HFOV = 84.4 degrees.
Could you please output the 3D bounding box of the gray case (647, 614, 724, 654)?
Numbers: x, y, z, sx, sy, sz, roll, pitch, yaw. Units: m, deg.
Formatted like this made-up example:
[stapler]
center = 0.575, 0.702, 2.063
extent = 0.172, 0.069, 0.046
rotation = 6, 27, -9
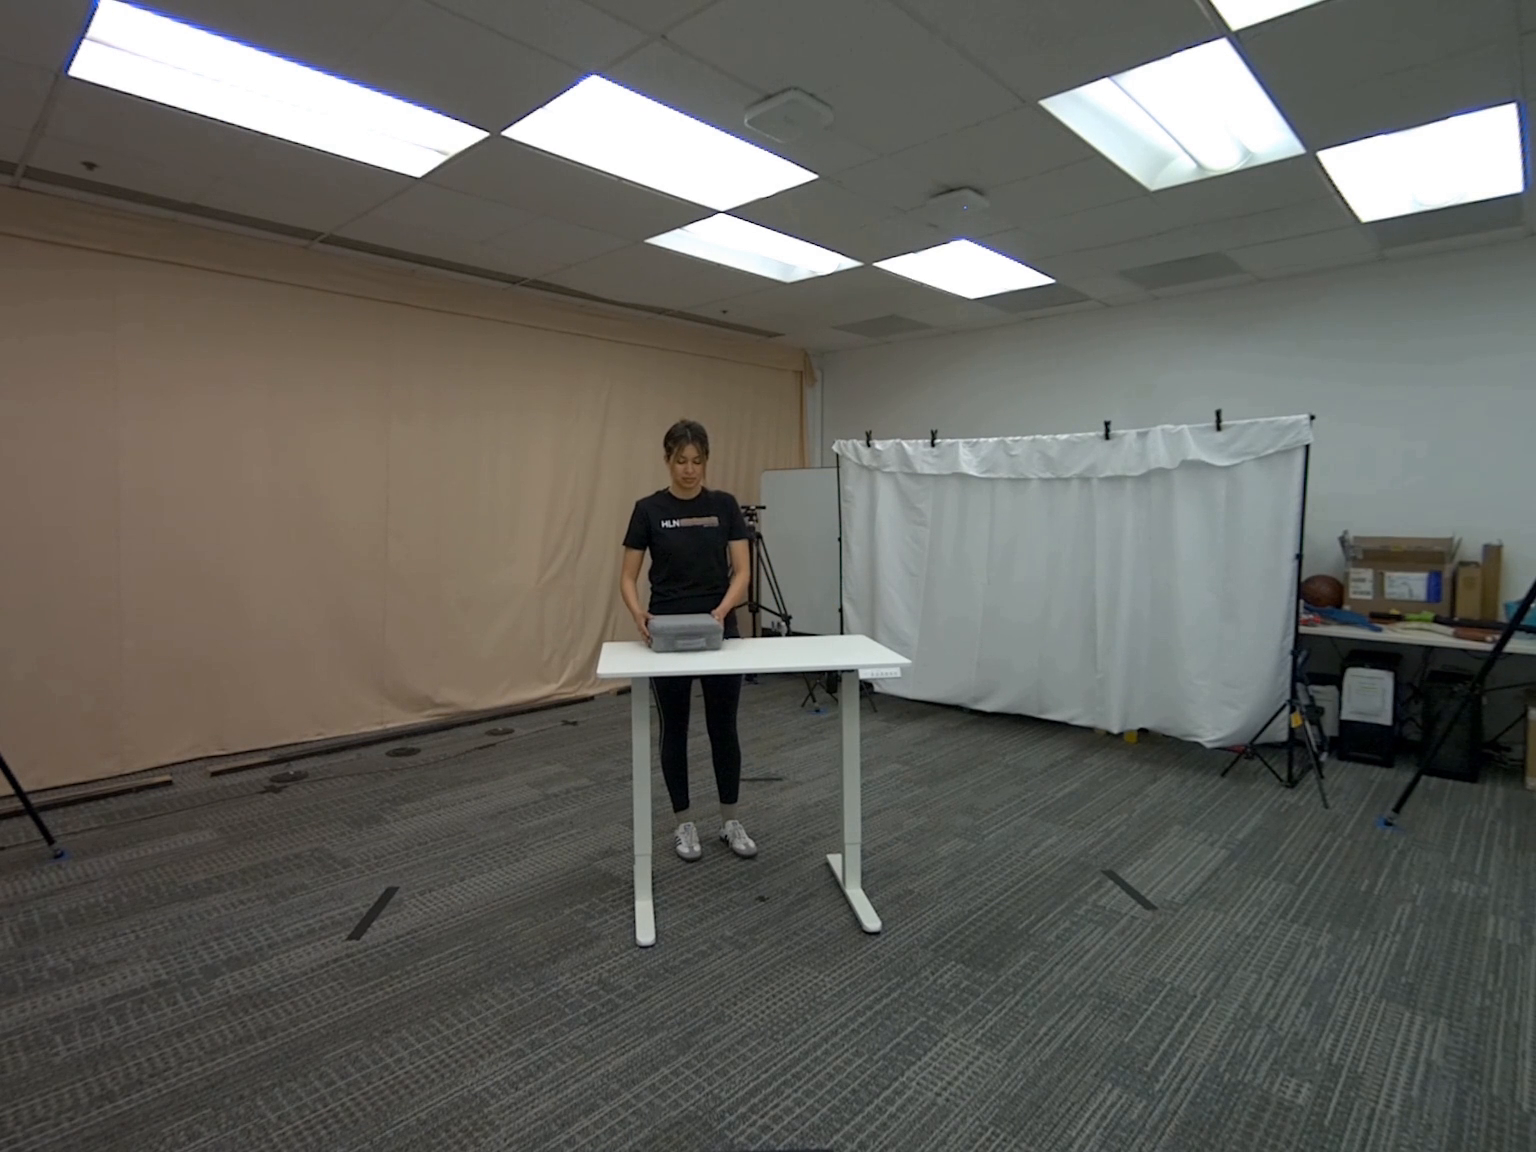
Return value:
[gray case]
center = -0.310, 0.208, 3.068
extent = 0.253, 0.104, 0.265
rotation = -1, 6, -14
